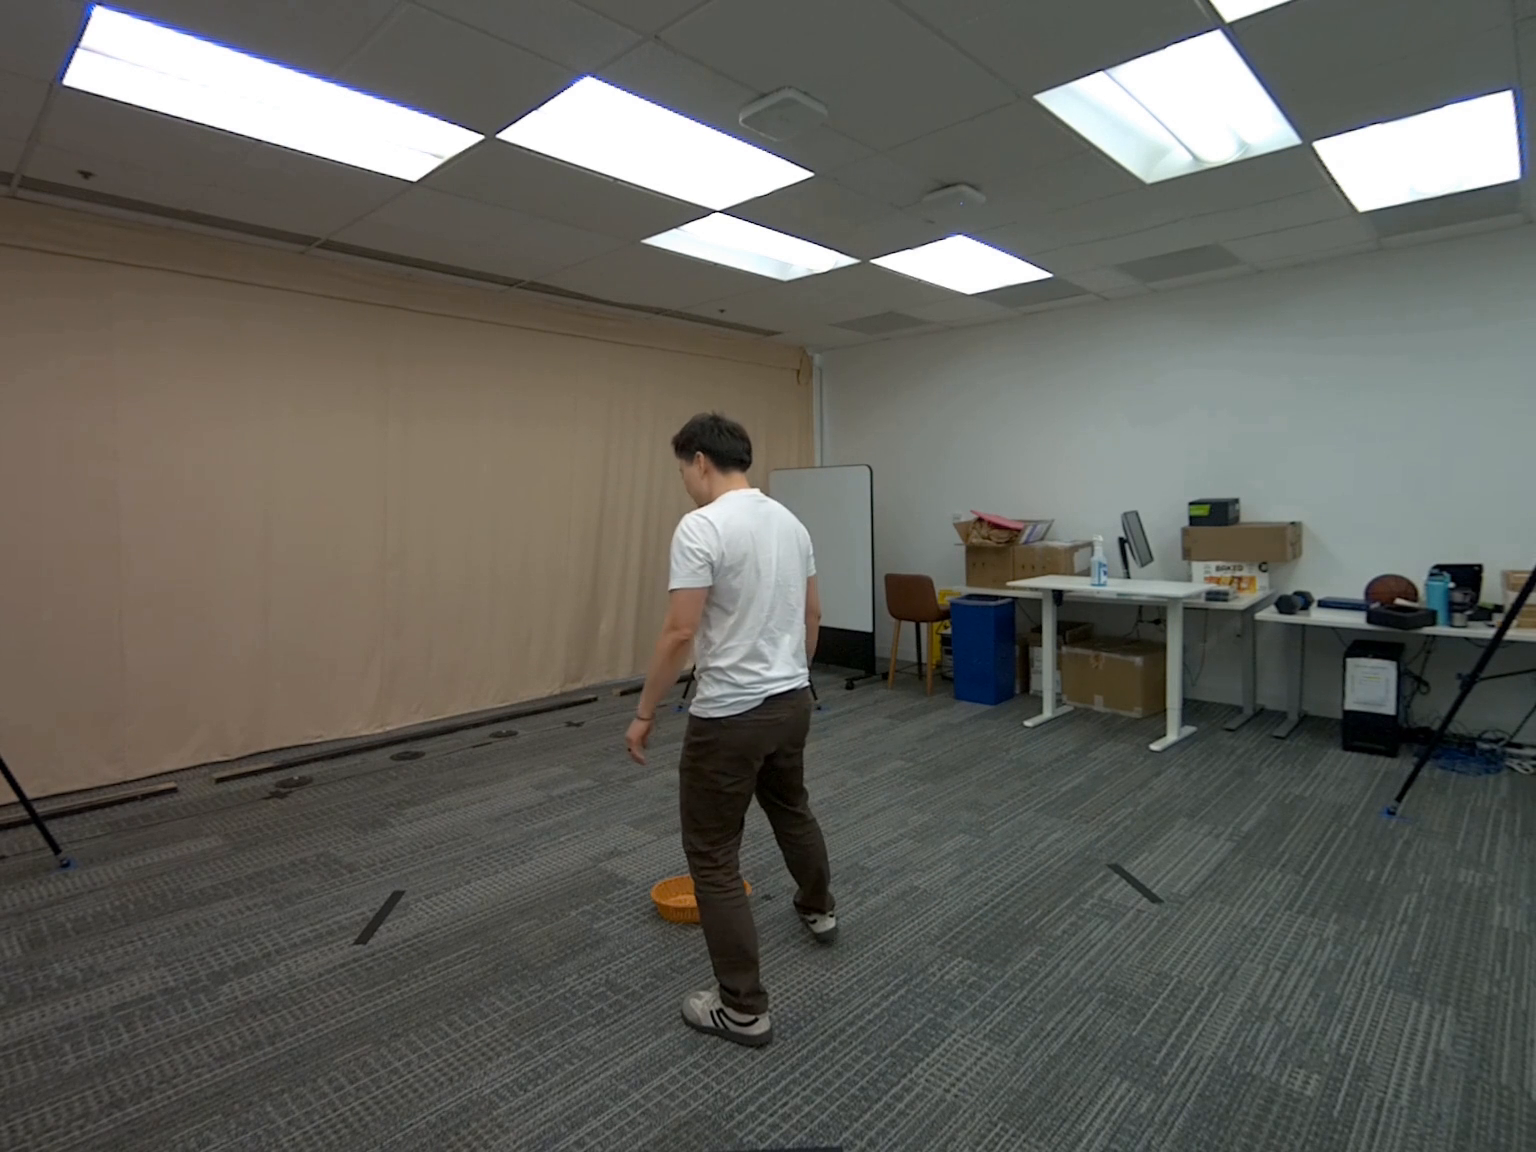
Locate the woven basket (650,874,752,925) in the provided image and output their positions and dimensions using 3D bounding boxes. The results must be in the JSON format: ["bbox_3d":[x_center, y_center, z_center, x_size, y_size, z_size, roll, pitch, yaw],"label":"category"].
[{"bbox_3d":[-0.229,1.113,2.899,0.349,0.073,0.254,-2,4,-5],"label":"woven basket"}]
